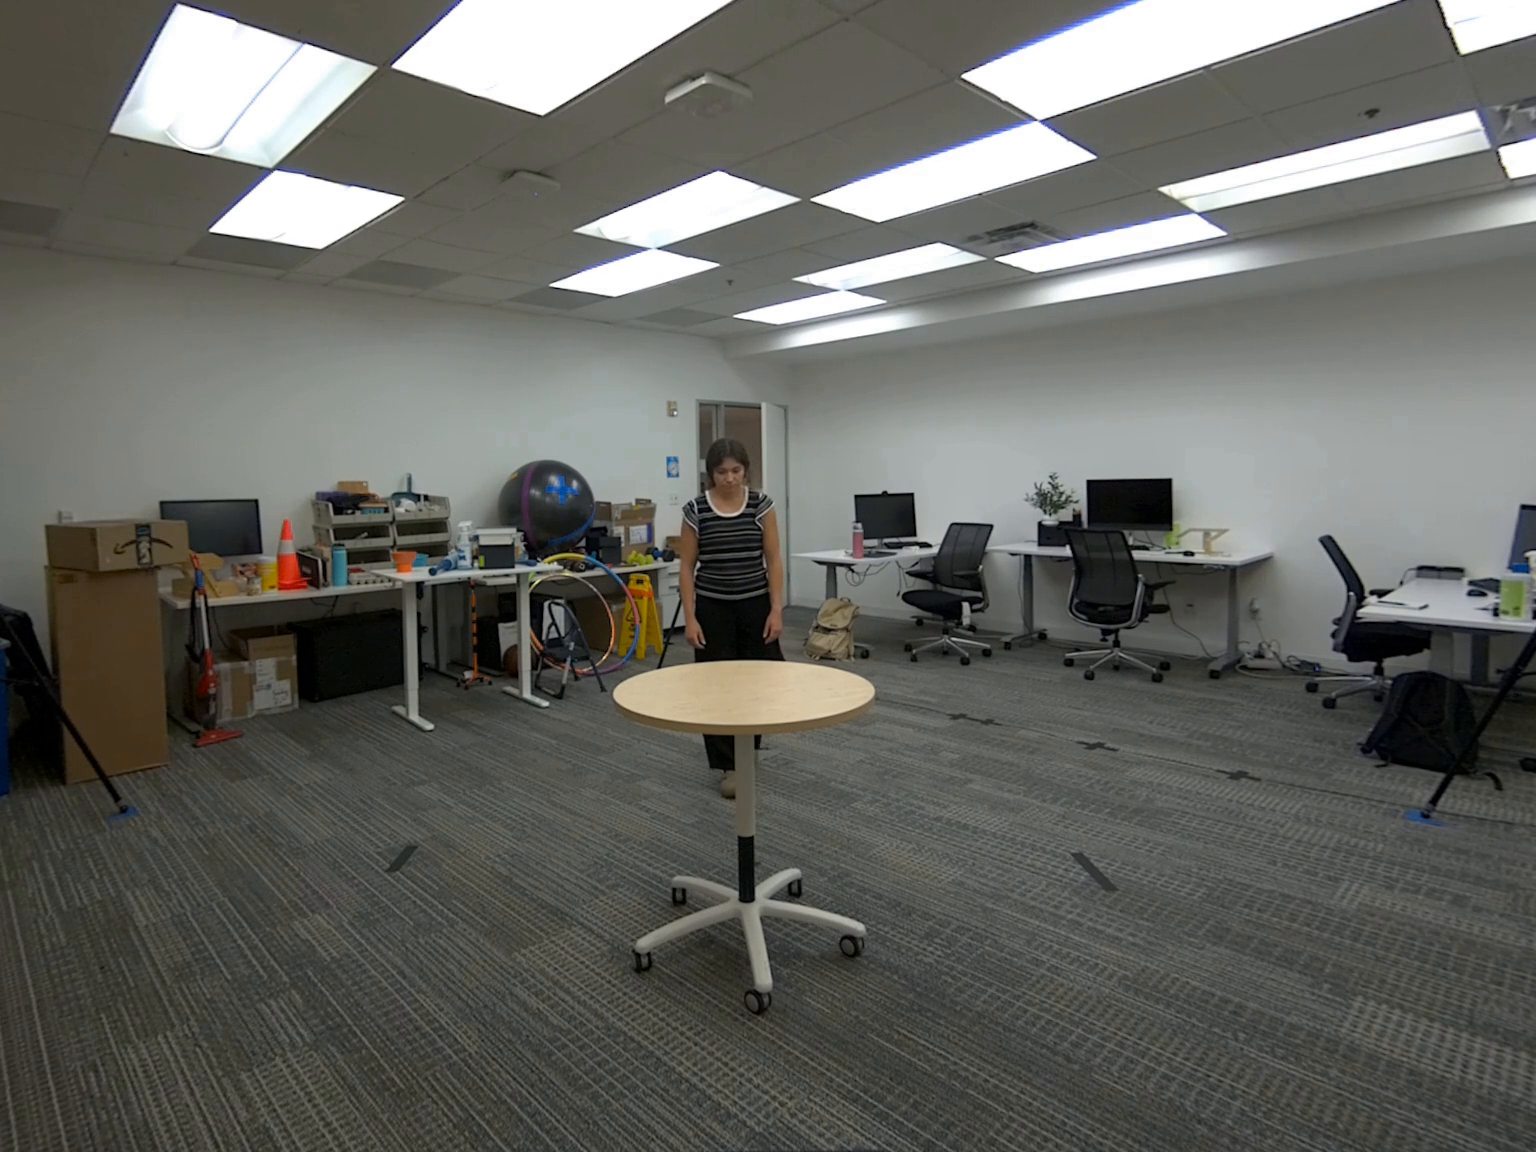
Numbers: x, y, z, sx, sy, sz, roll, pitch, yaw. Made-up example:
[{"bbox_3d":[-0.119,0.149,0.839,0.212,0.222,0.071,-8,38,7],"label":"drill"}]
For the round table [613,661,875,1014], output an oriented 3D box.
[{"bbox_3d":[-0.064,0.728,2.544,0.763,0.791,0.768,-1,5,-2],"label":"round table"}]
